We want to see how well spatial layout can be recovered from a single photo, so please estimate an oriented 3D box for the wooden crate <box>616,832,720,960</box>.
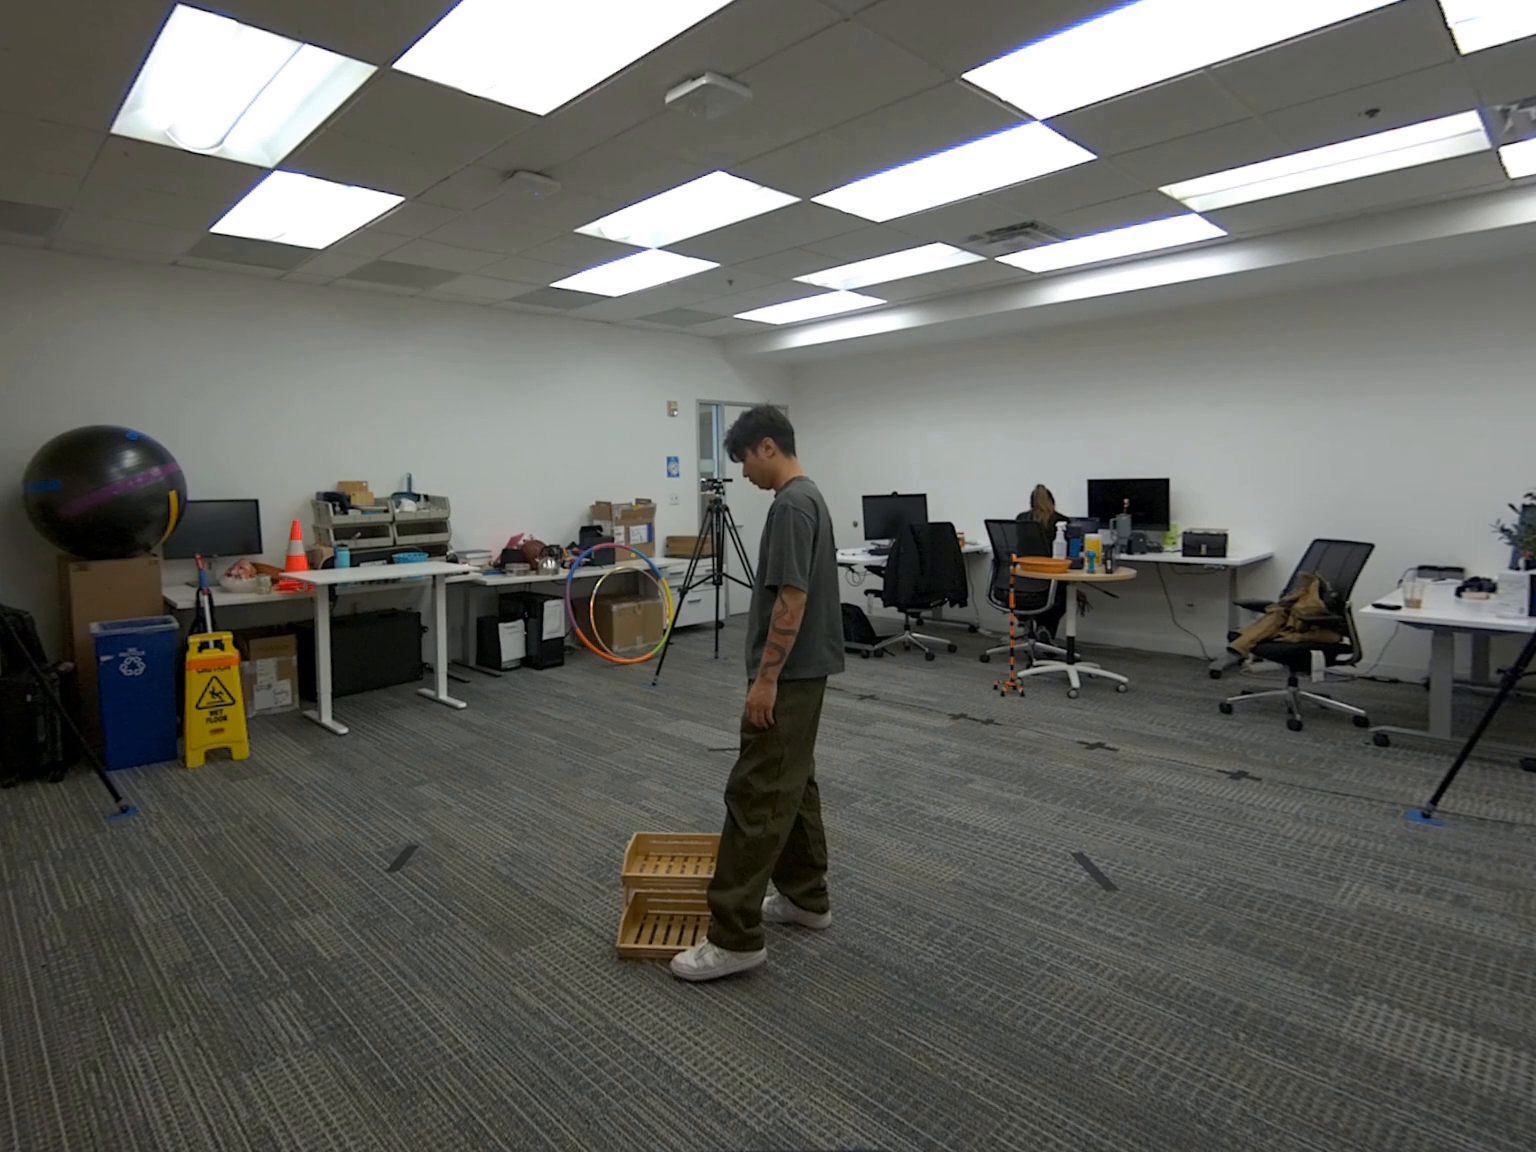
[{"bbox_3d":[-0.282,0.975,2.605,0.326,0.272,0.302,0,6,4],"label":"wooden crate"}]
